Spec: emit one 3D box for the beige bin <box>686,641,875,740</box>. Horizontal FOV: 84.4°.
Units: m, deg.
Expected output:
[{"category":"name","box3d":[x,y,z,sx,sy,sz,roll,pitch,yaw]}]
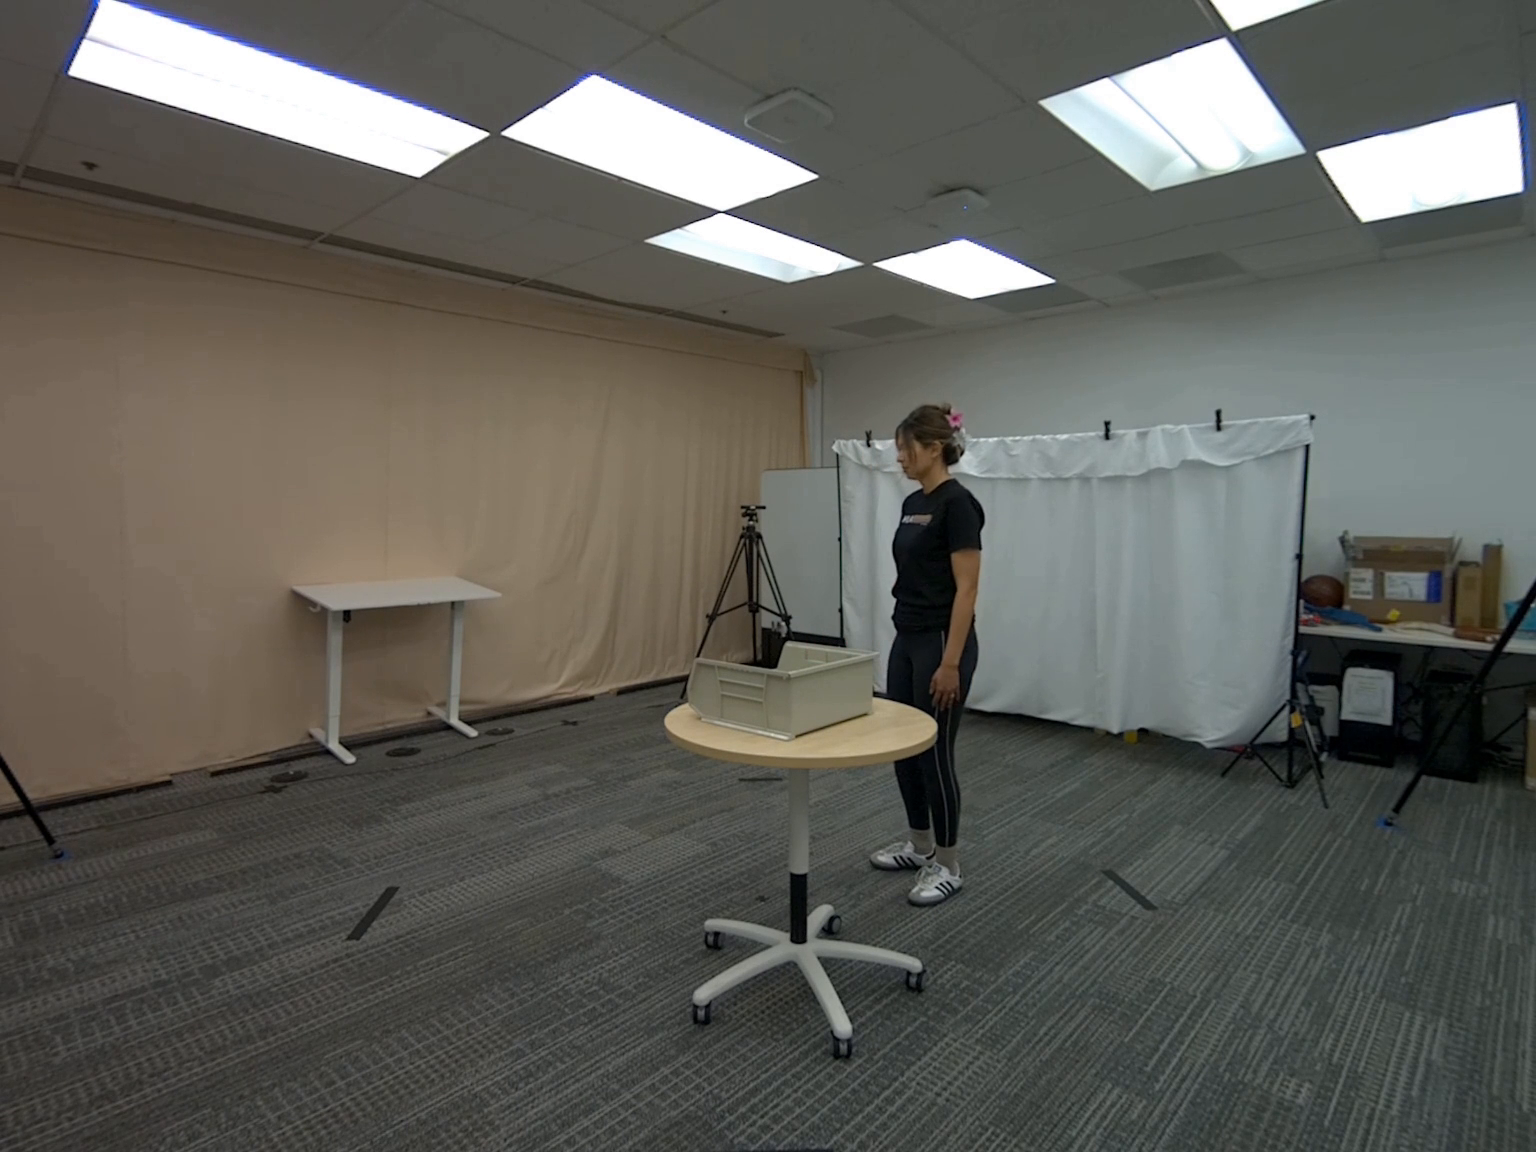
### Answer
[{"category":"beige bin","box3d":[0.048,0.319,2.423,0.390,0.188,0.409,5,5,41]}]
